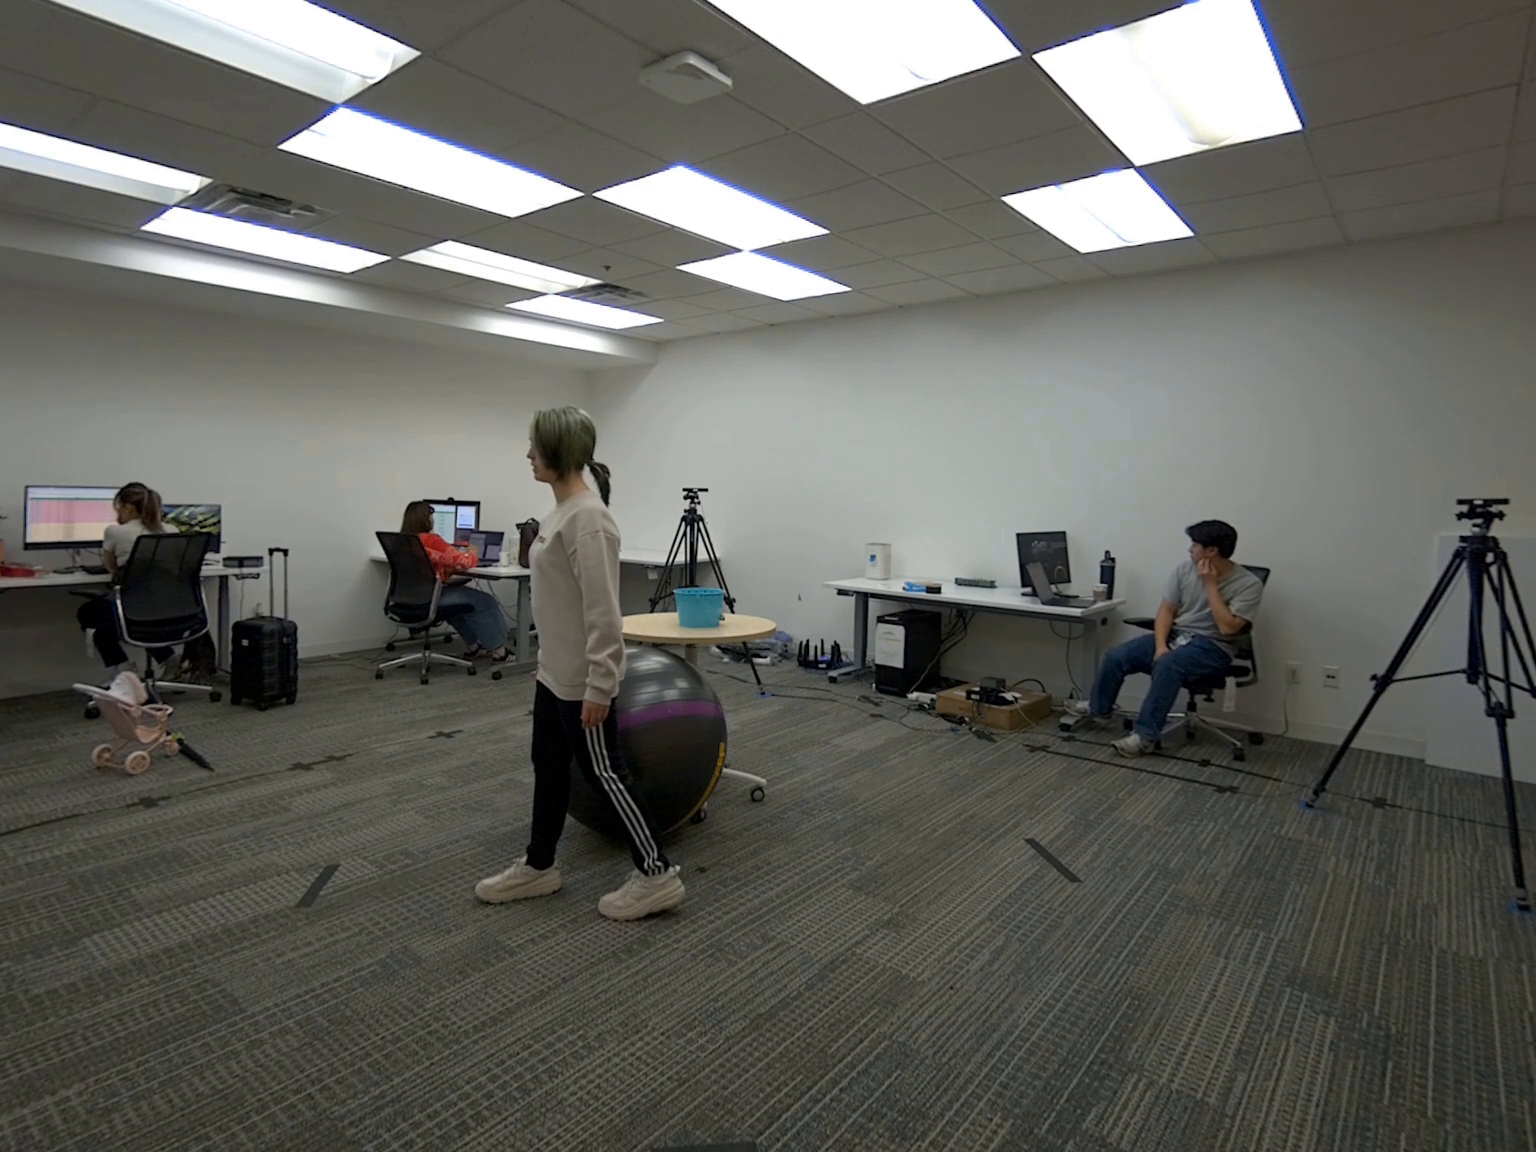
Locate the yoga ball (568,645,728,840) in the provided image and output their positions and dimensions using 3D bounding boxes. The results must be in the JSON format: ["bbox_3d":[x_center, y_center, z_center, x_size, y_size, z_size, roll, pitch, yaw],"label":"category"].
[{"bbox_3d":[-0.562,0.666,3.446,0.757,0.756,0.762,1,4,-2],"label":"yoga ball"}]
